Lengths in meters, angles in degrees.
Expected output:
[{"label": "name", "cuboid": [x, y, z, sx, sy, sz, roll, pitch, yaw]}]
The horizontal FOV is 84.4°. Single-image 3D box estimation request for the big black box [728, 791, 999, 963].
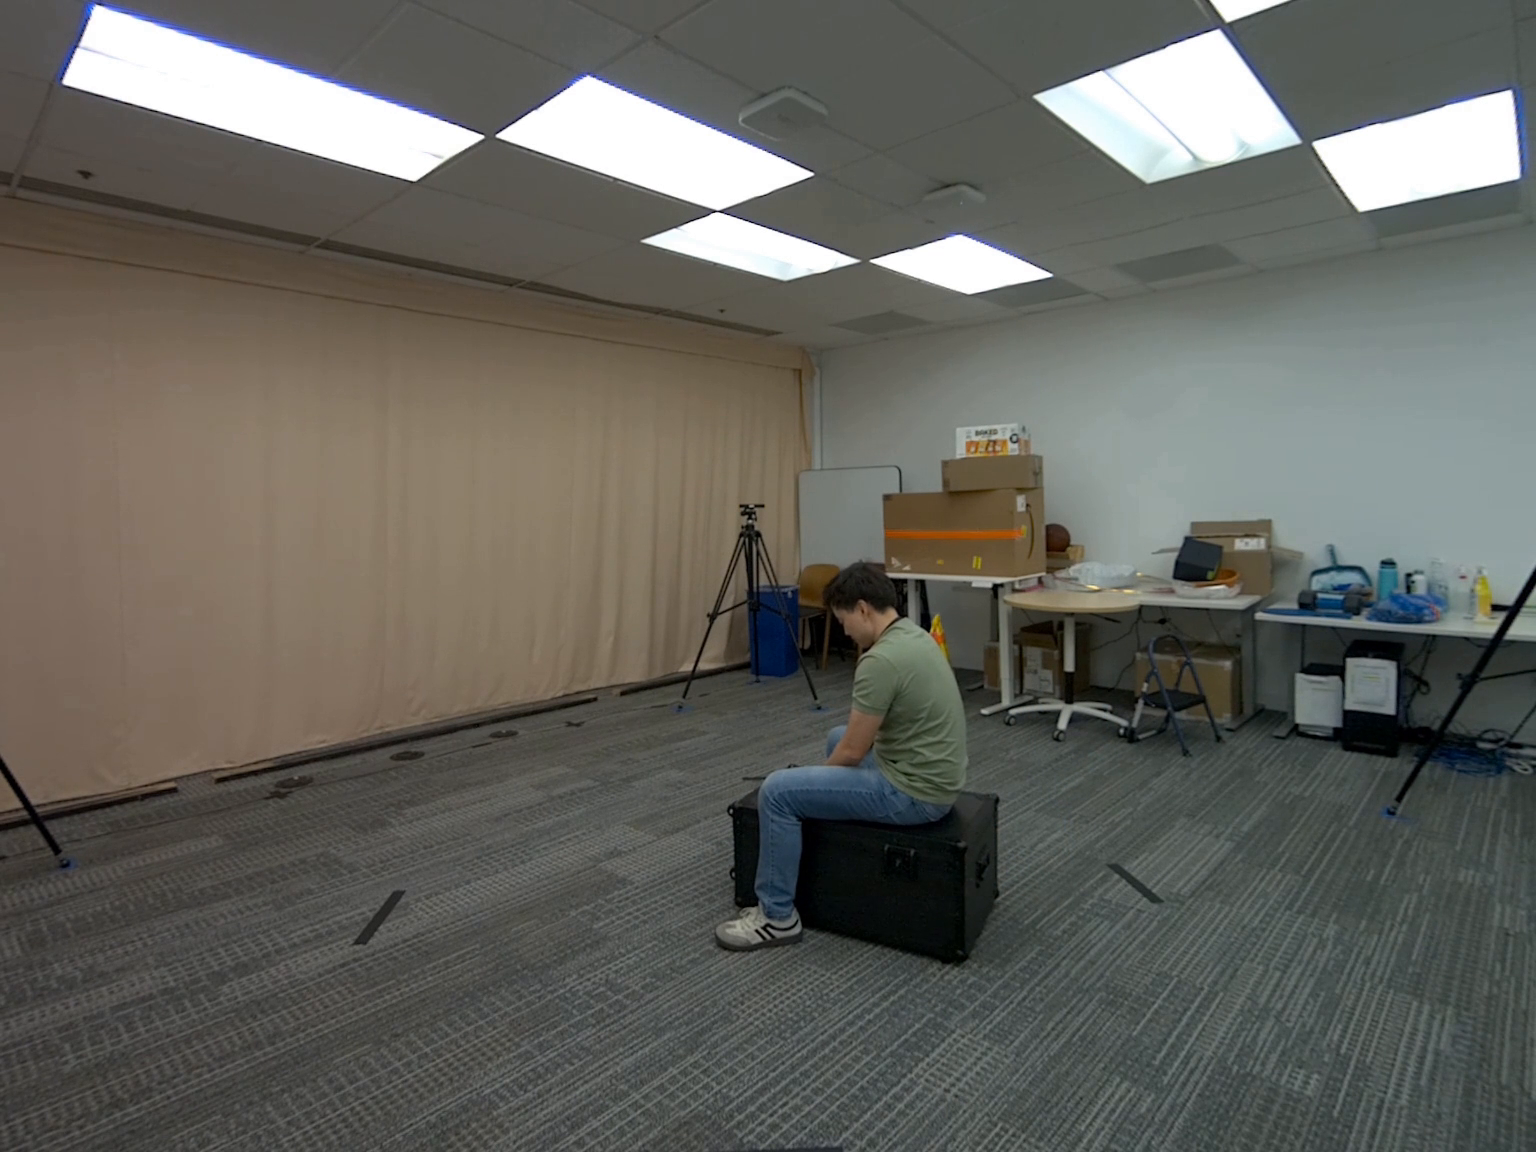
[{"label": "big black box", "cuboid": [0.316, 0.952, 2.900, 0.885, 0.395, 0.509, 3, 6, 28]}]
